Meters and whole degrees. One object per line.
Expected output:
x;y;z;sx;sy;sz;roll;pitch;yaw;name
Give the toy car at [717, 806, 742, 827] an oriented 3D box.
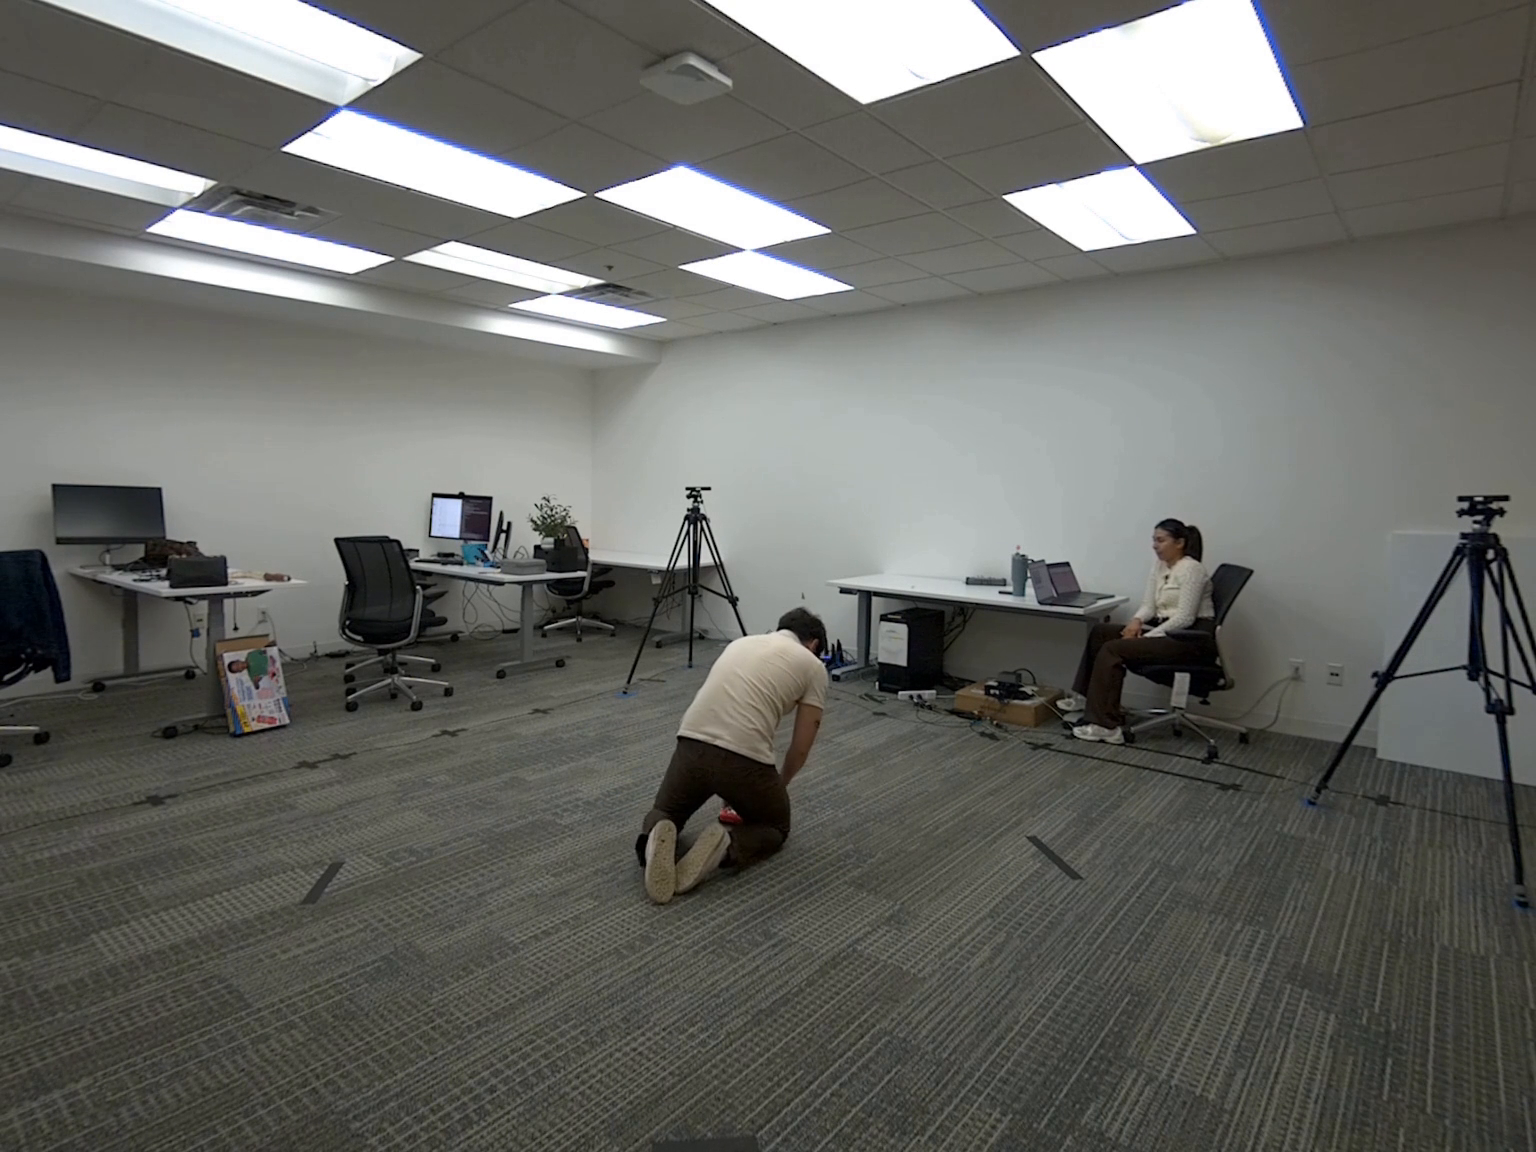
-0.113;0.984;3.614;0.133;0.082;0.252;1;18;24;toy car
